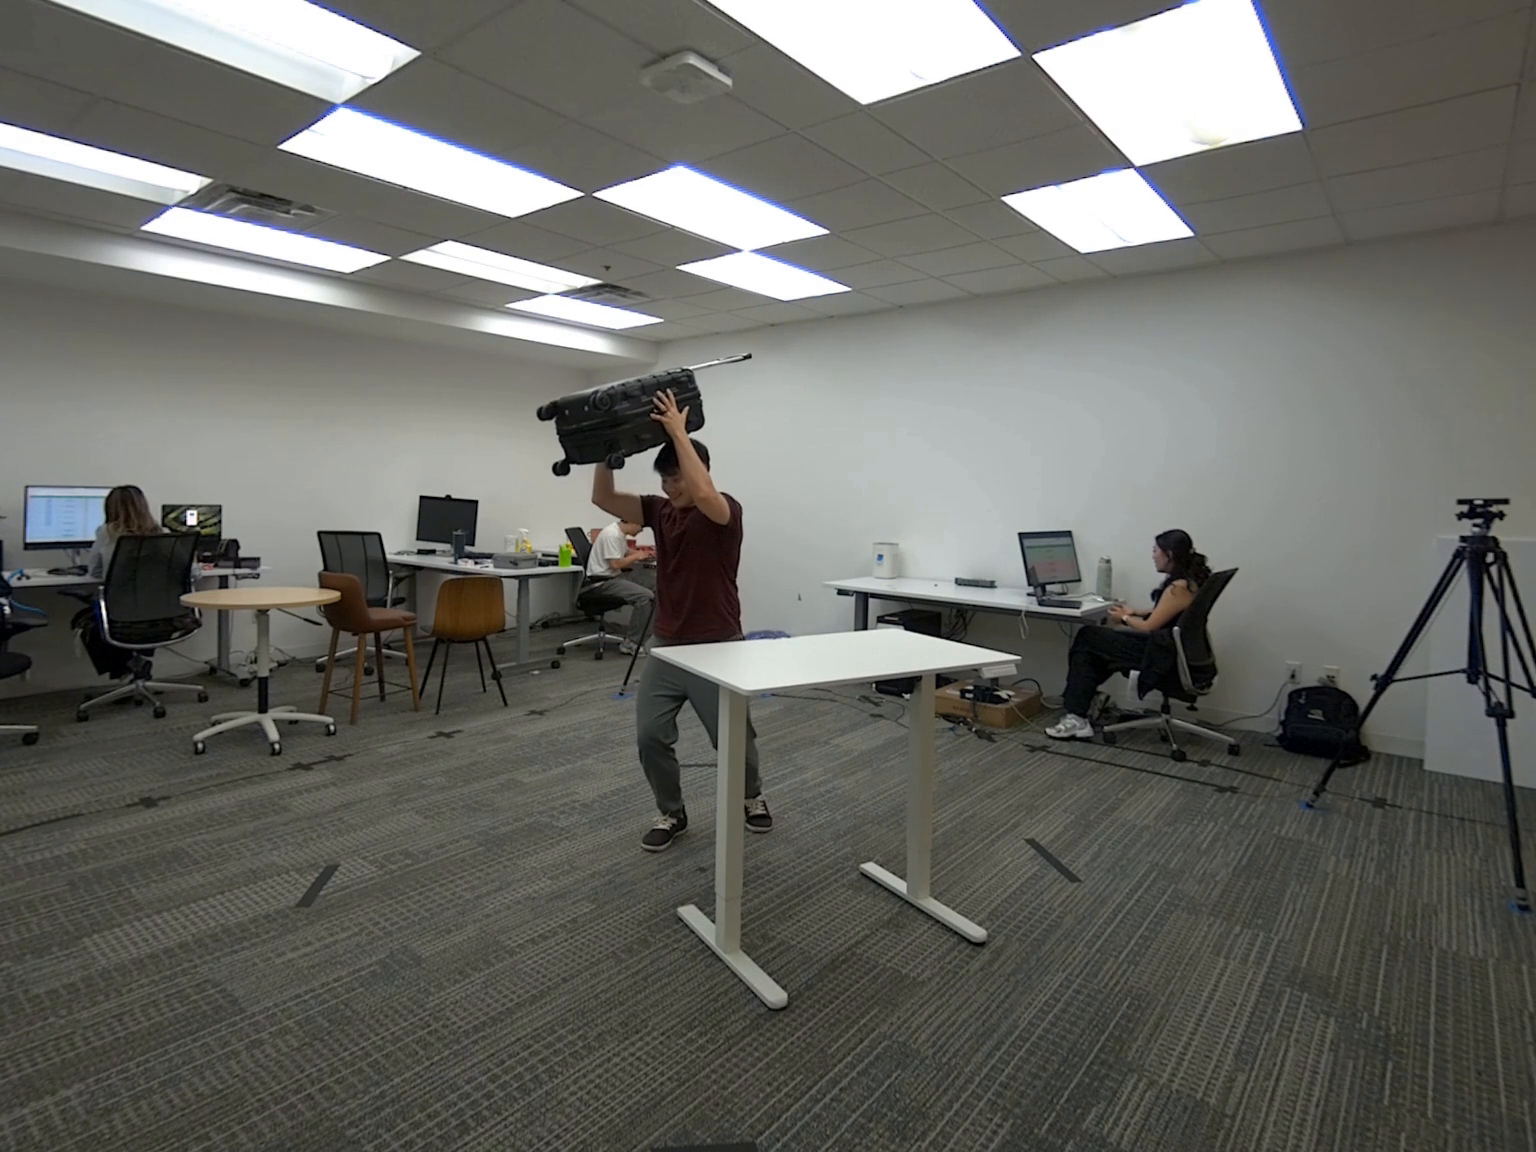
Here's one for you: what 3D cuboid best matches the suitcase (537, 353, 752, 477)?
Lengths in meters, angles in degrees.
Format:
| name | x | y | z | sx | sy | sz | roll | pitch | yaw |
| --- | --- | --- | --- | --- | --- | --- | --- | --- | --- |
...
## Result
| name | x | y | z | sx | sy | sz | roll | pitch | yaw |
| --- | --- | --- | --- | --- | --- | --- | --- | --- | --- |
| suitcase | -0.413 | -0.659 | 3.286 | 0.396 | 0.253 | 0.965 | -1 | 20 | 40 |
